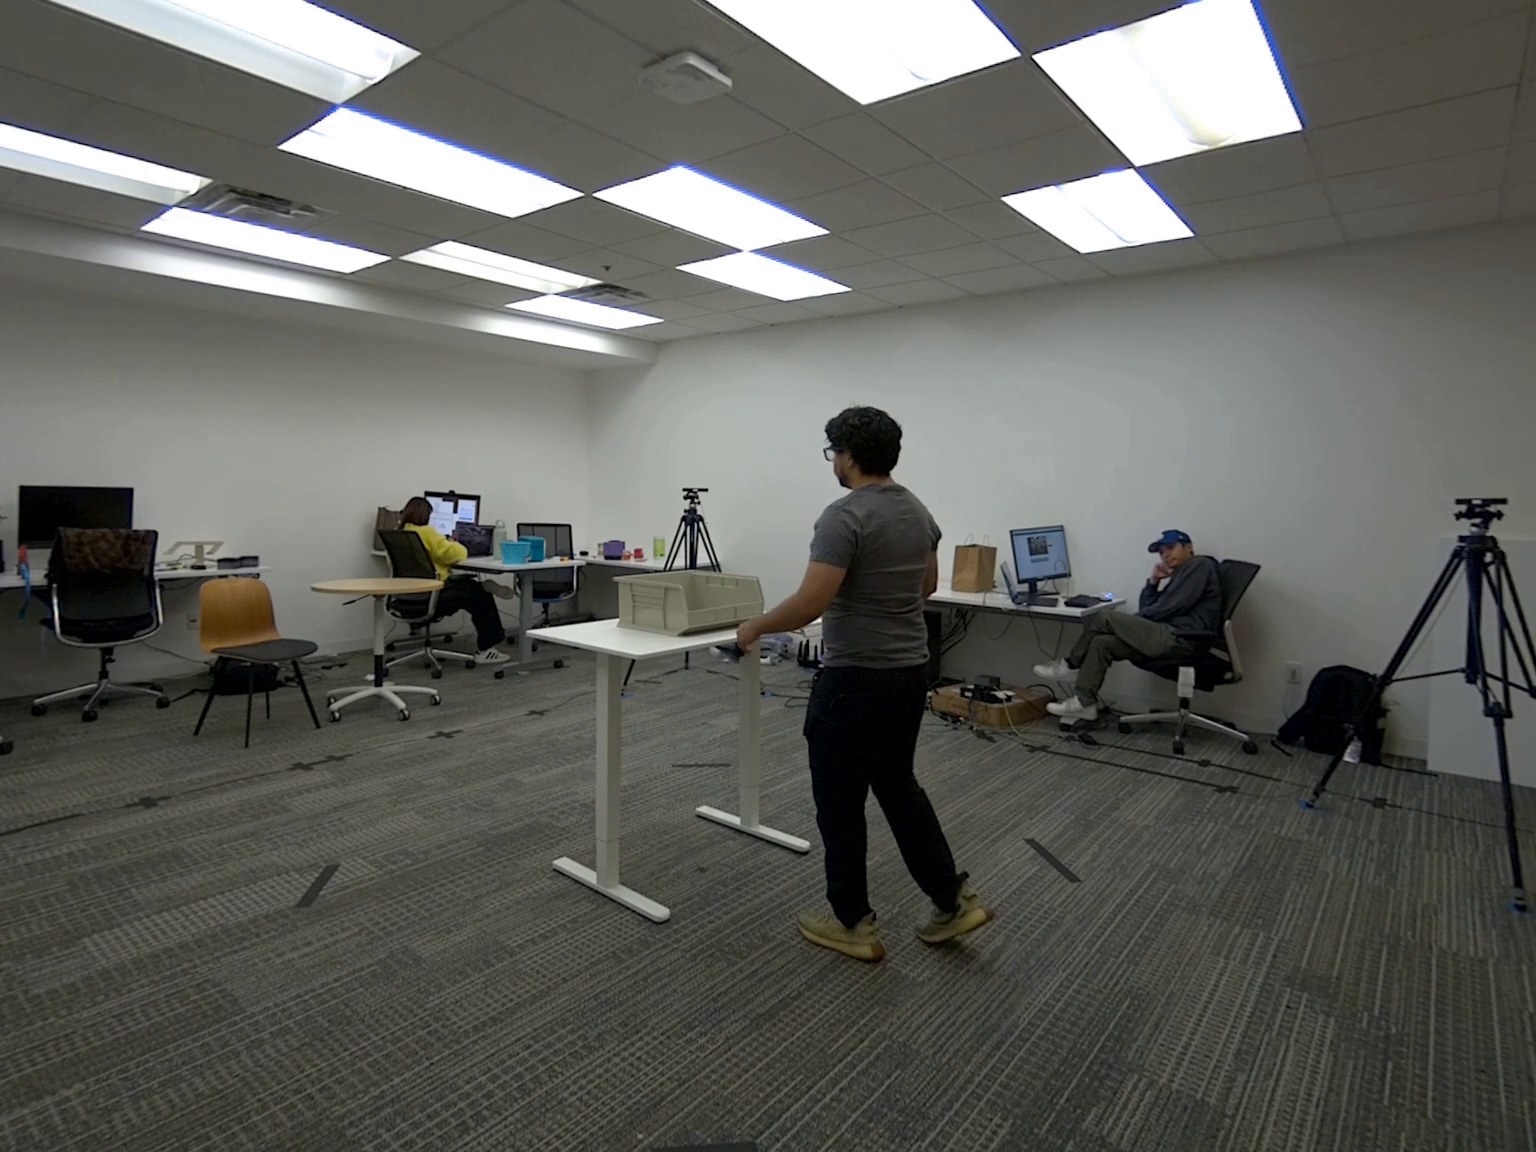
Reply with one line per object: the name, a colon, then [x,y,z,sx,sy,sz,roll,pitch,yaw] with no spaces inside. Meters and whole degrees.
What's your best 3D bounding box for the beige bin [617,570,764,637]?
beige bin: [-0.297,0.093,3.138,0.390,0.188,0.410,4,6,40]
